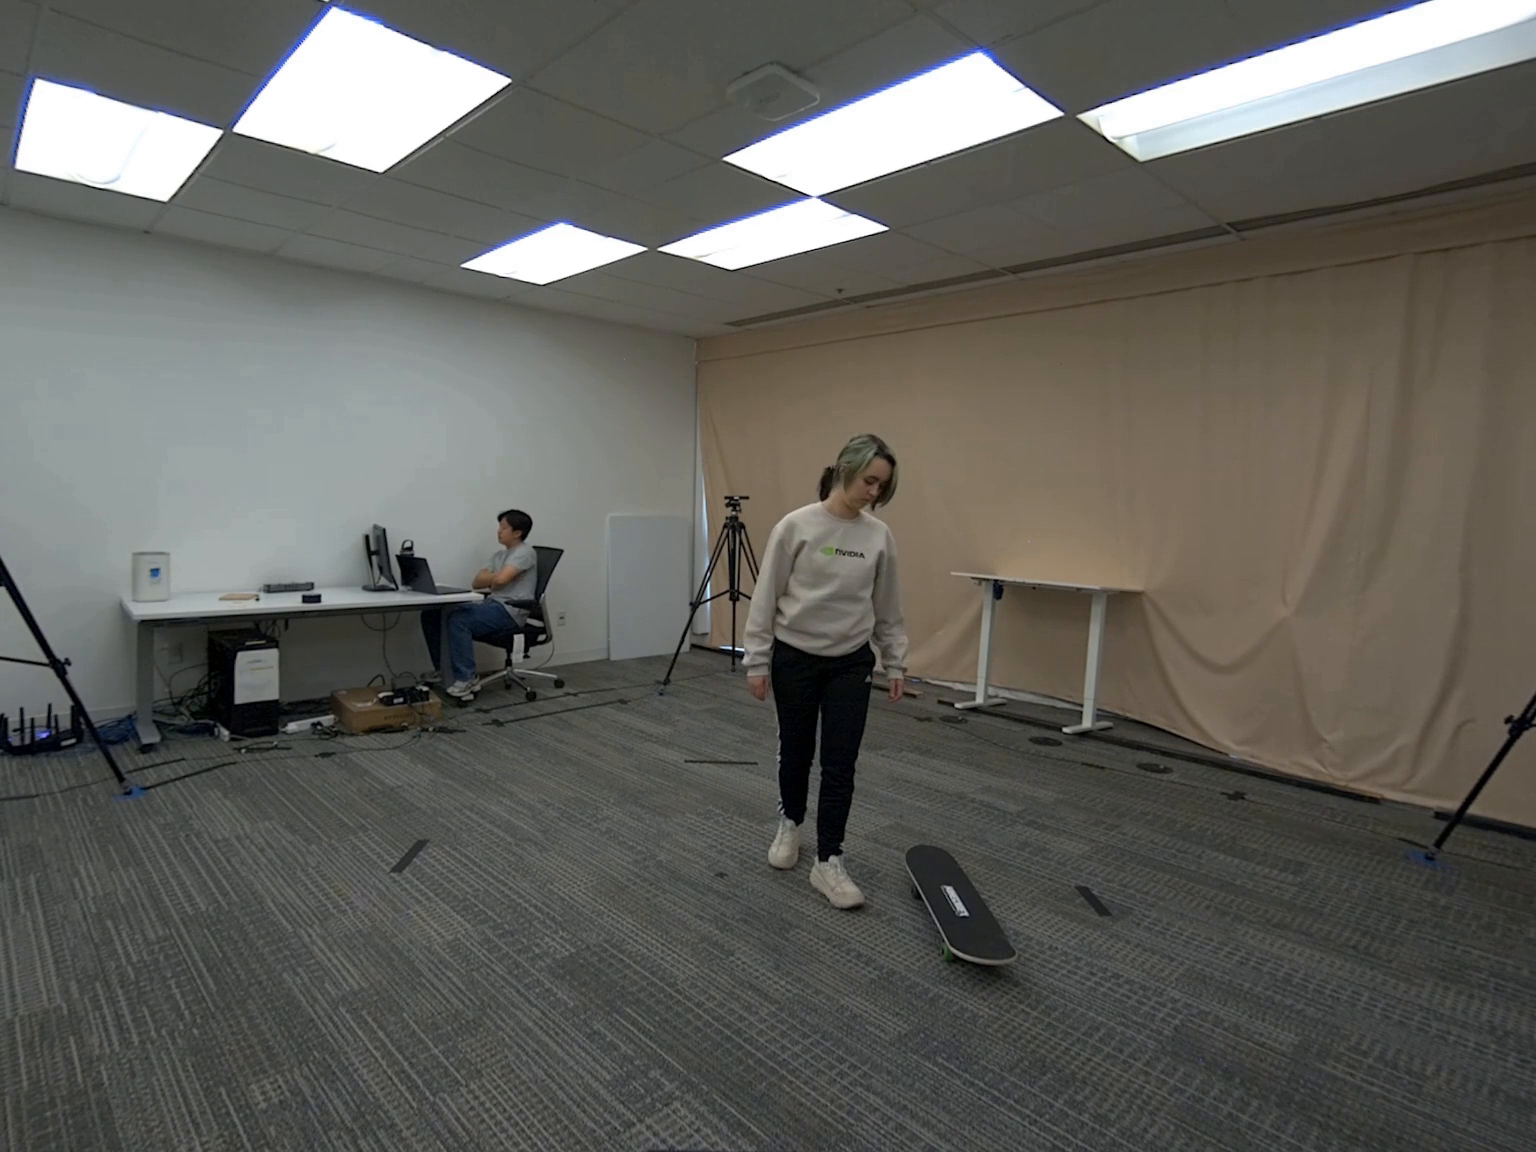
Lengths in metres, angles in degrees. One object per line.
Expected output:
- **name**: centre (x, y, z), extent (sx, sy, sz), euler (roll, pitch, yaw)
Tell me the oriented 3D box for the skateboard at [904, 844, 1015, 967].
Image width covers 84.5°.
- **skateboard**: centre (0.602, 1.094, 2.769), extent (0.193, 0.110, 0.790), euler (2, 6, -4)
